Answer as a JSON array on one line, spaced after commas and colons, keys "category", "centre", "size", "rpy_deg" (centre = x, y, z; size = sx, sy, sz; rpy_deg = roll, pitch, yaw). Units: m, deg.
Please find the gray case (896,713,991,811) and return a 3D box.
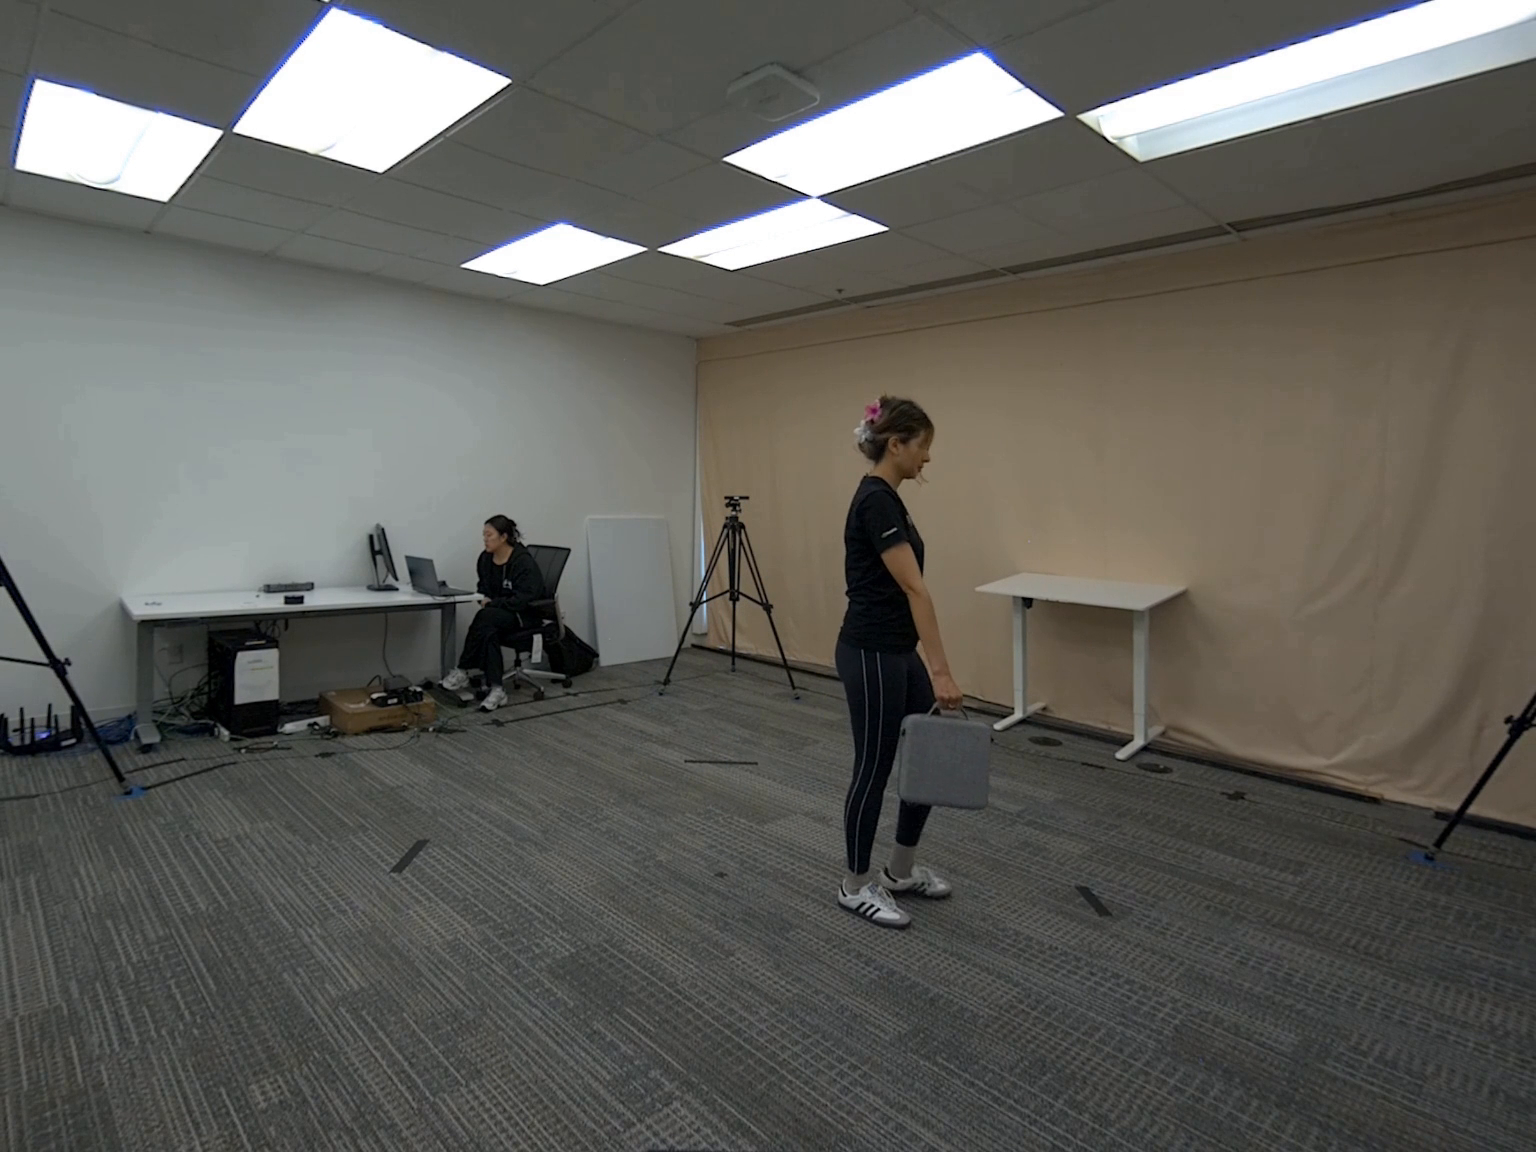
[{"category": "gray case", "centre": [0.521, 0.543, 2.479], "size": [0.257, 0.262, 0.103], "rpy_deg": [4, -8, 3]}]
